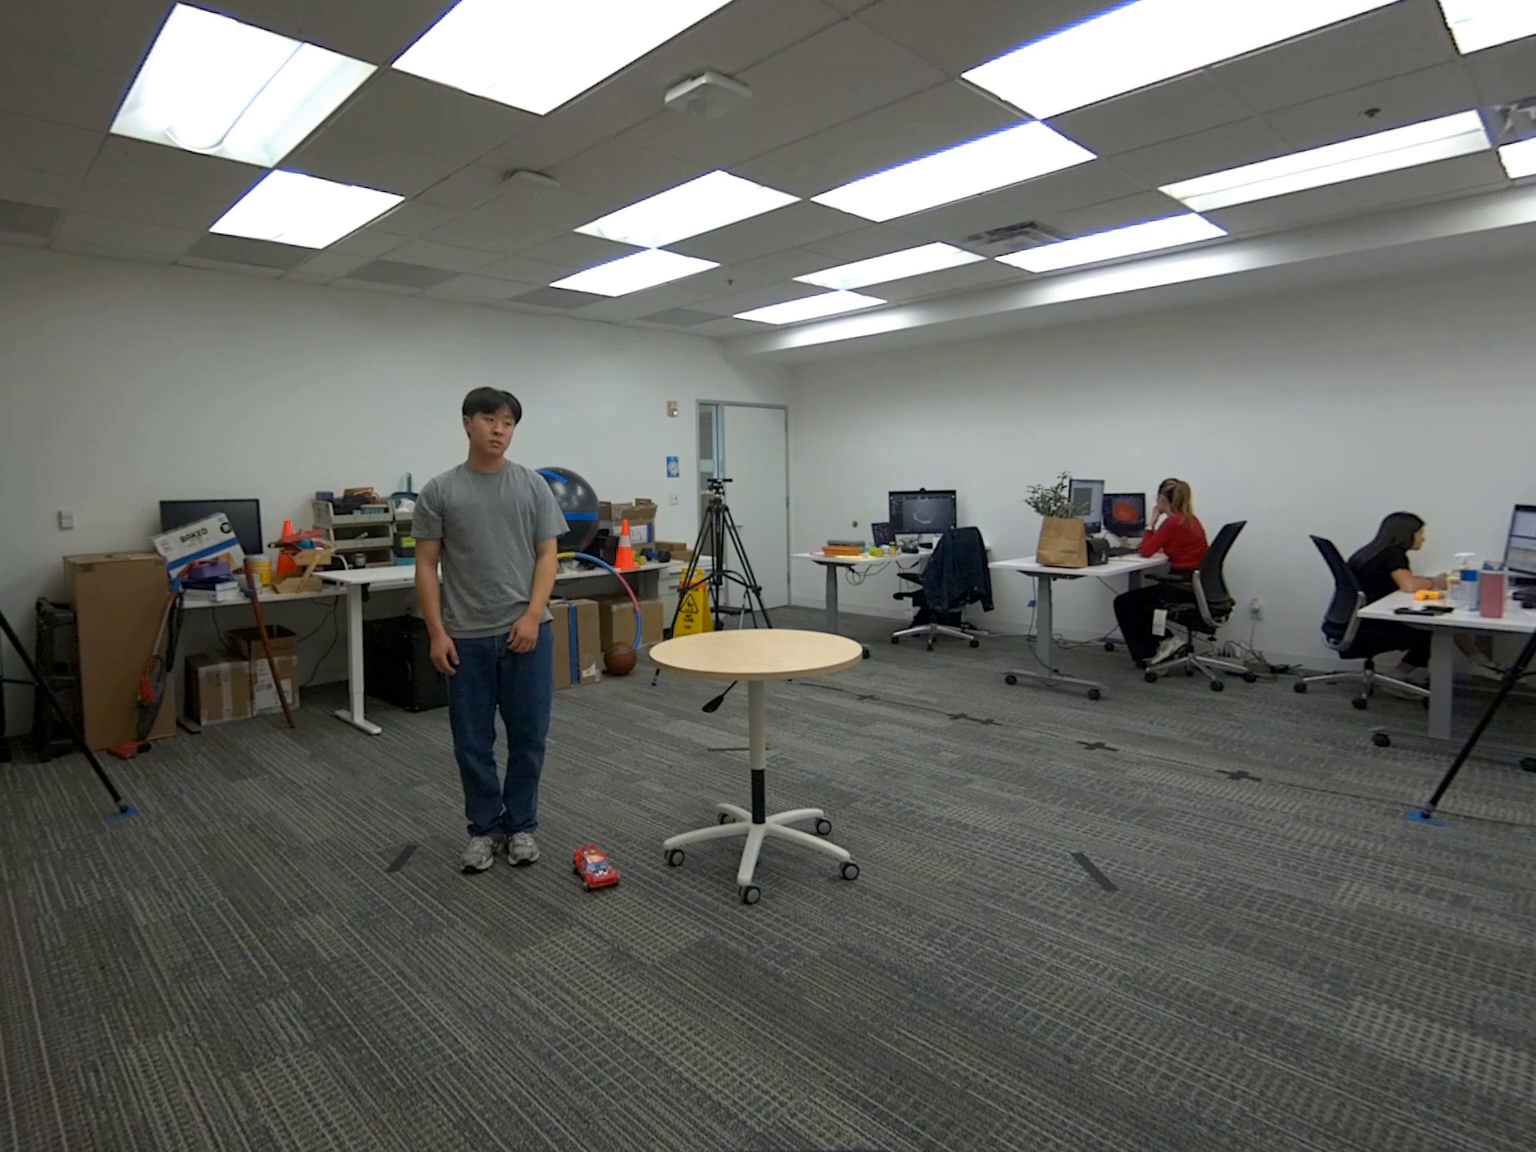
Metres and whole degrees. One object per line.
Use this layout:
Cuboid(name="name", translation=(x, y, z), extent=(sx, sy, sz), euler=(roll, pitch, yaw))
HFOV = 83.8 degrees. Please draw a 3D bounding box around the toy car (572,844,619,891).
Cuboid(name="toy car", translation=(-0.616, 1.035, 3.025), extent=(0.127, 0.082, 0.263), euler=(-5, 18, -26))
